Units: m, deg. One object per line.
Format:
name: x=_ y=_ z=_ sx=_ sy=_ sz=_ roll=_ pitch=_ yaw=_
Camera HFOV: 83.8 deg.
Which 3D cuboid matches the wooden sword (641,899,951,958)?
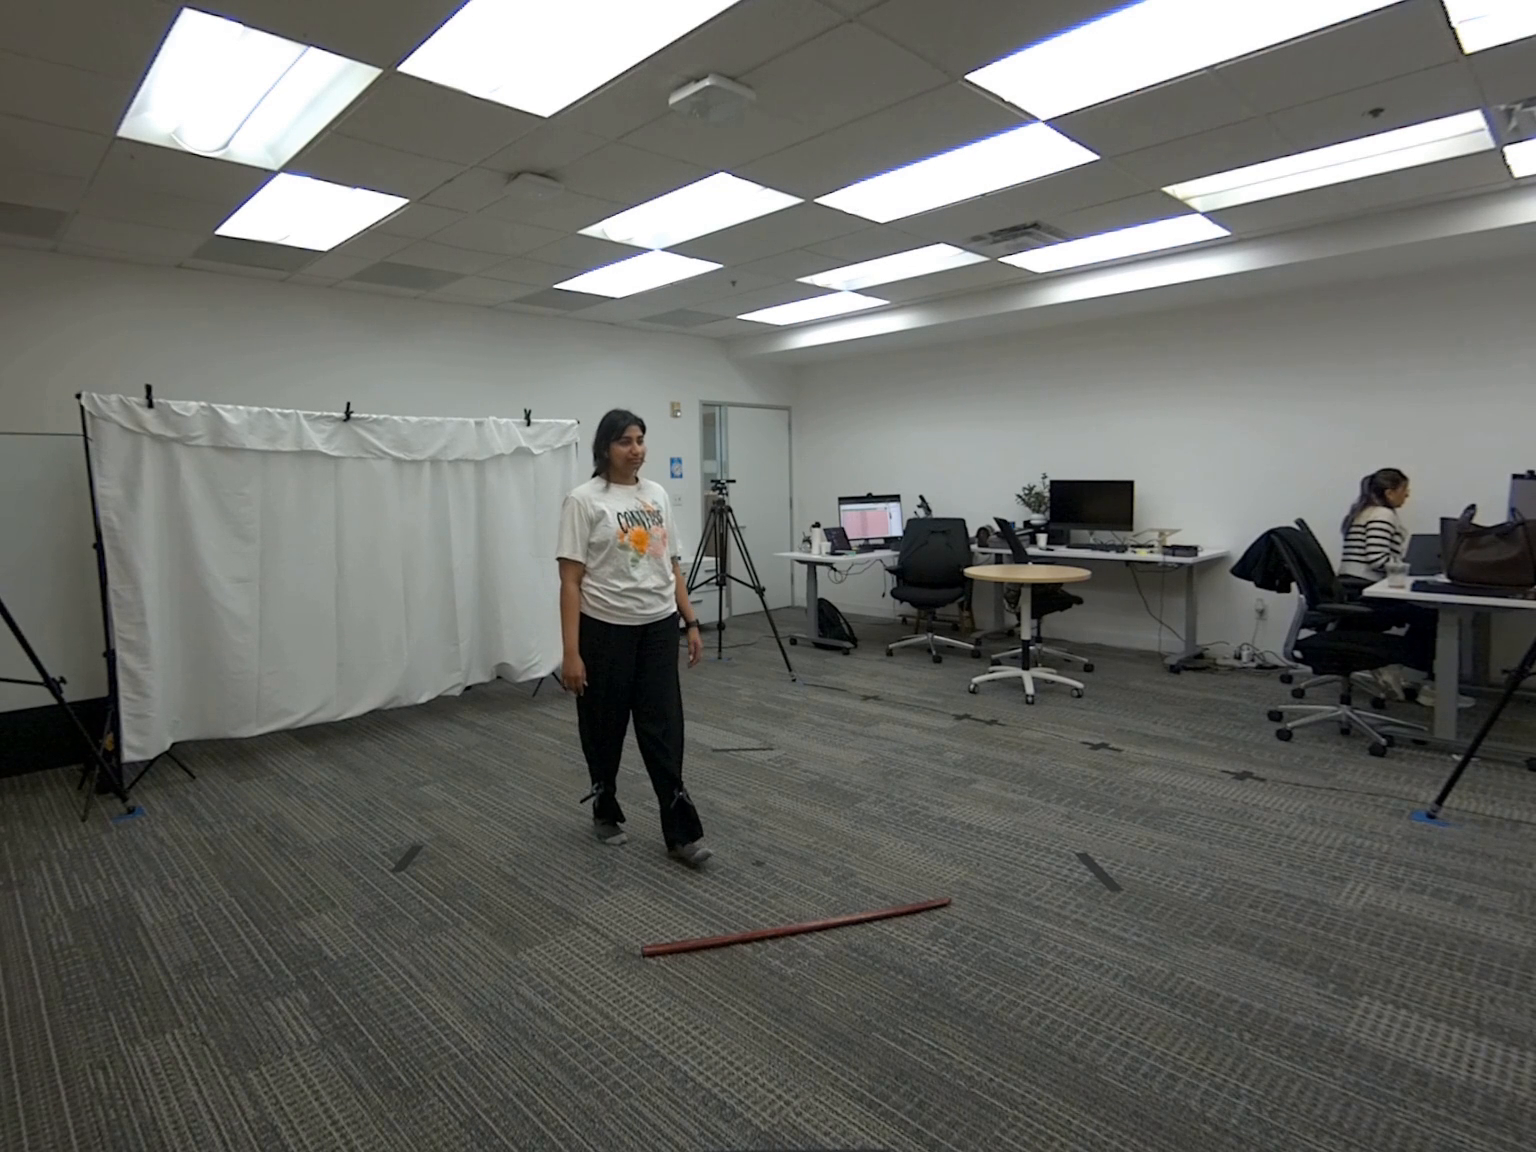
wooden sword: x=0.117 y=1.075 z=2.656 sx=1.011 sy=0.024 sz=0.052 roll=-3 pitch=4 yaw=-15
